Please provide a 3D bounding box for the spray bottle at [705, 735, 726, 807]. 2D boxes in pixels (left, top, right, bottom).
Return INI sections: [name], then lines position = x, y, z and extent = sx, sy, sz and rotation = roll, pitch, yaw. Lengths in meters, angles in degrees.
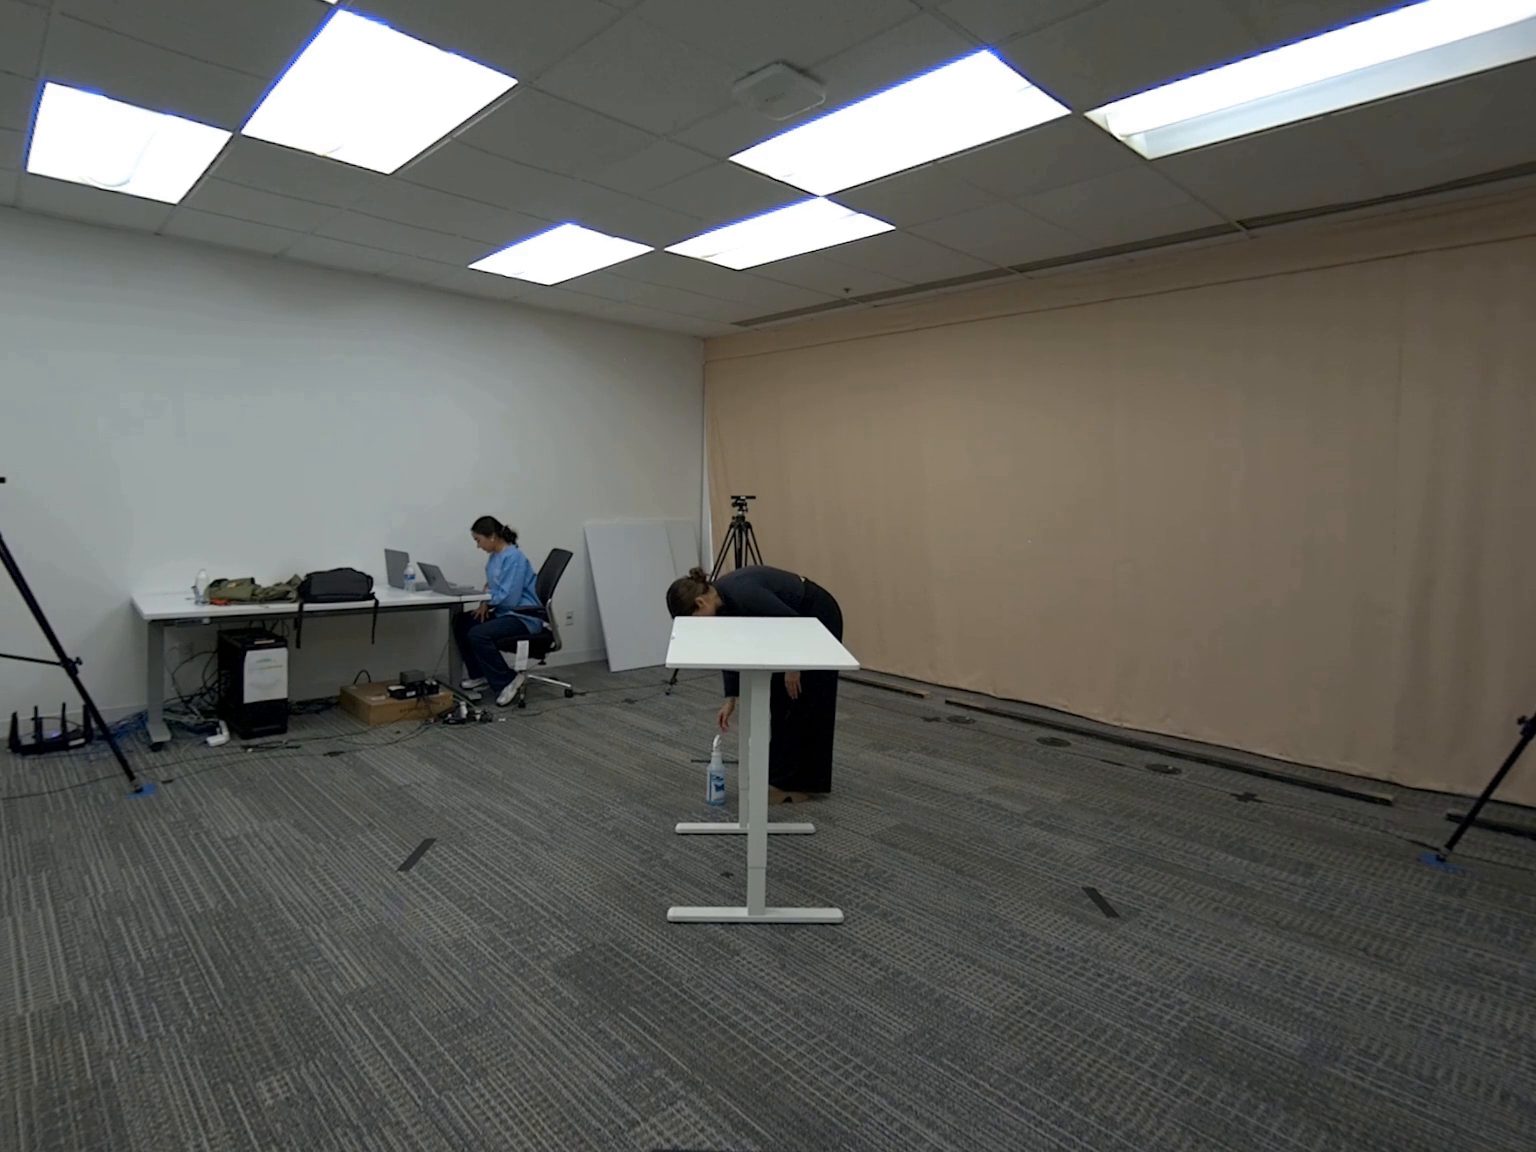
[spray bottle]
position = -0.246, 0.889, 3.850
extent = 0.089, 0.297, 0.088
rotation = 2, 3, 31
